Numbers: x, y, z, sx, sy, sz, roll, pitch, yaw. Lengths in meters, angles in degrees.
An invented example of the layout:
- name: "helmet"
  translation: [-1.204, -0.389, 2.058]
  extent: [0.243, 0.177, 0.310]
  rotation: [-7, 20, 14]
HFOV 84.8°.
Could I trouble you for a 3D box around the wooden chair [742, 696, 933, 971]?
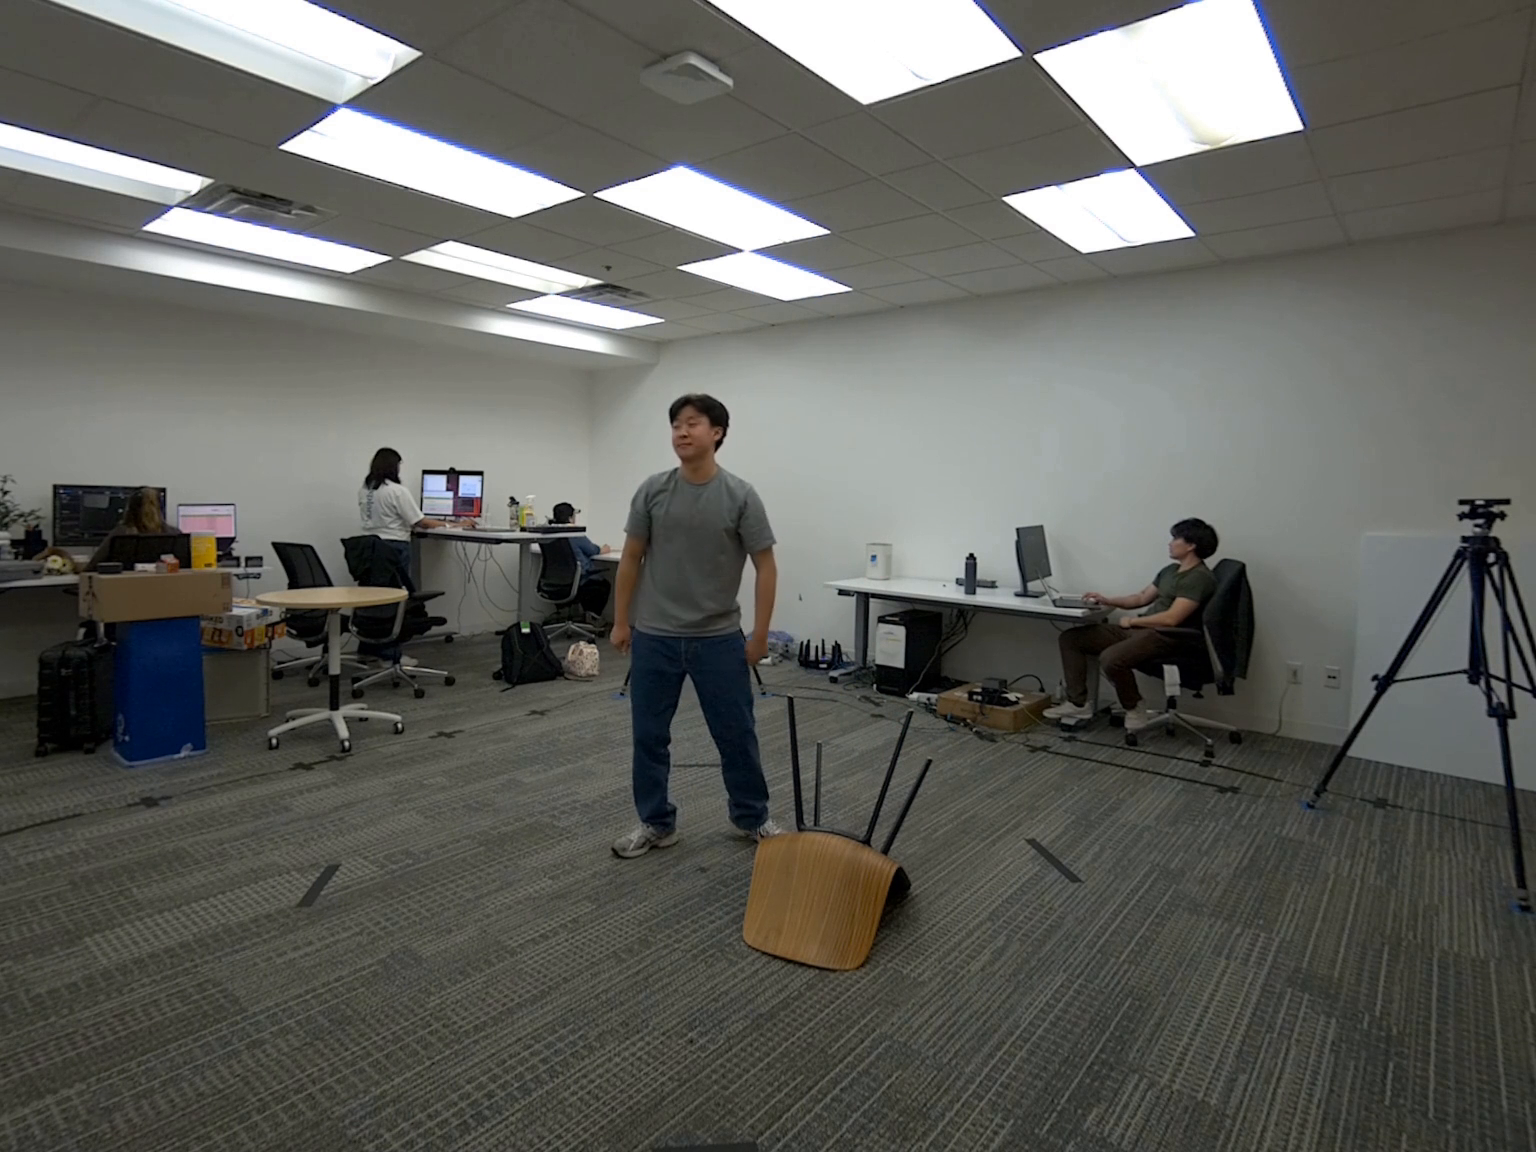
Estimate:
- name: "wooden chair"
  translation: [0.241, 0.927, 2.921]
  extent: [0.490, 0.891, 0.503]
  rotation: [3, -36, 22]
